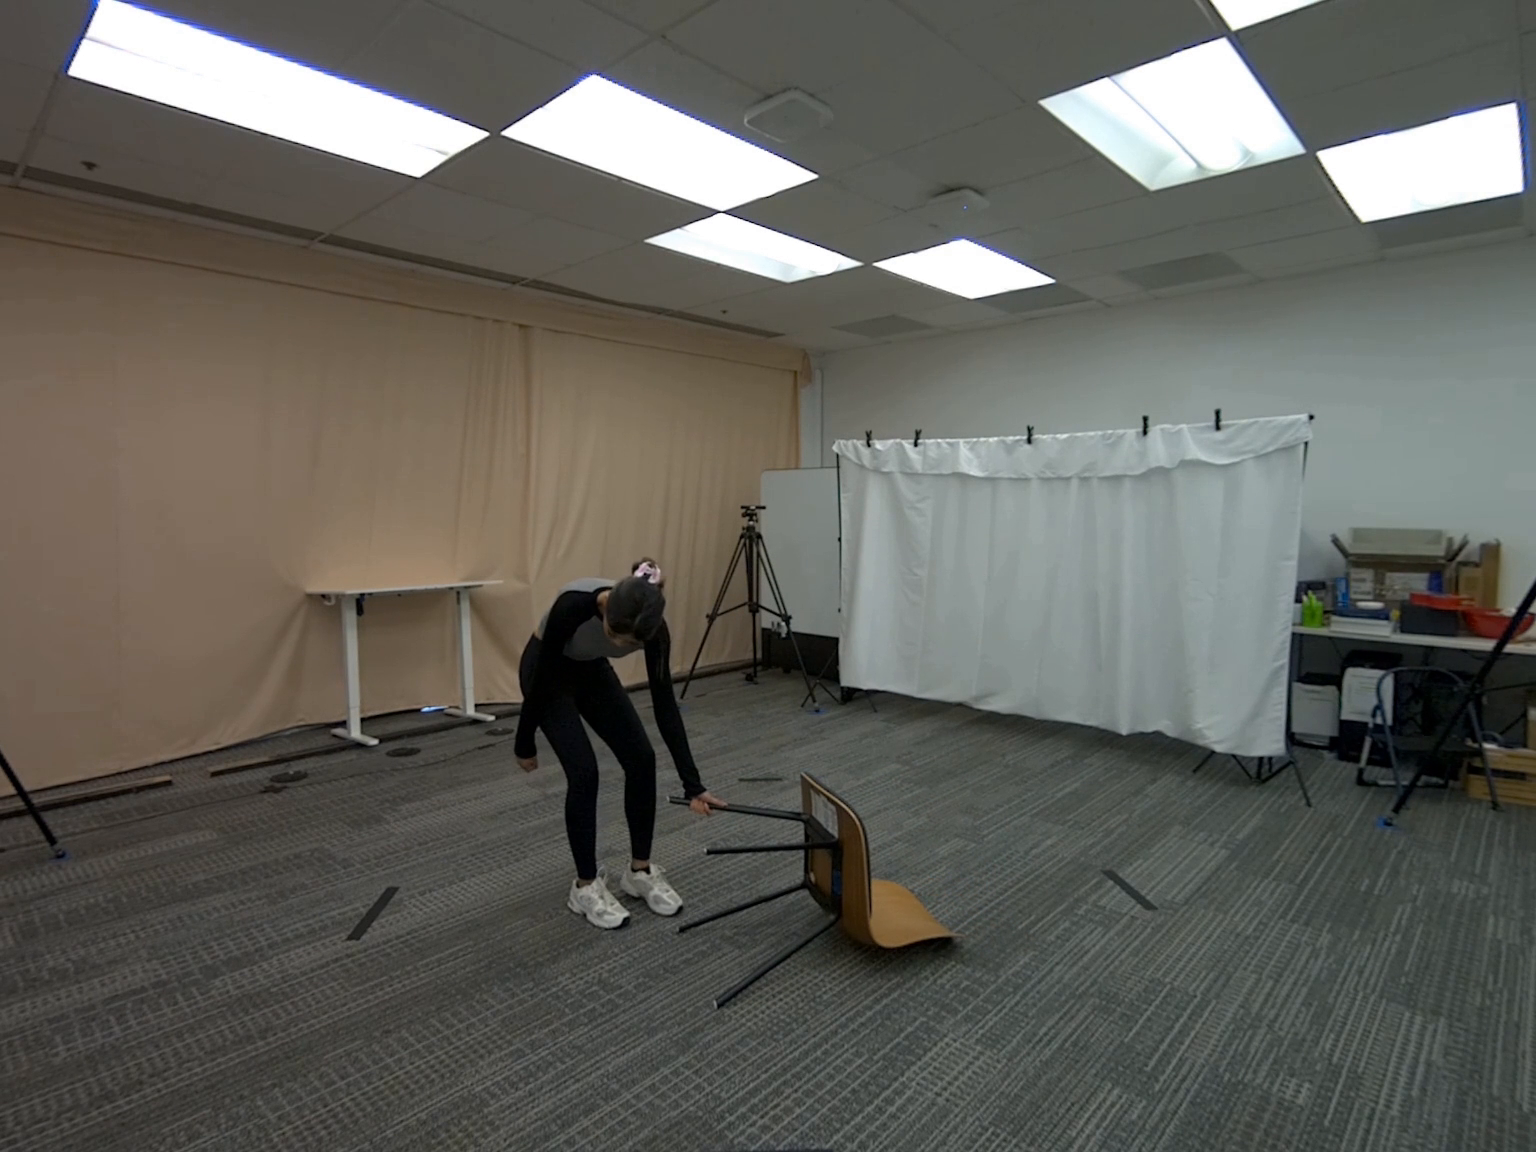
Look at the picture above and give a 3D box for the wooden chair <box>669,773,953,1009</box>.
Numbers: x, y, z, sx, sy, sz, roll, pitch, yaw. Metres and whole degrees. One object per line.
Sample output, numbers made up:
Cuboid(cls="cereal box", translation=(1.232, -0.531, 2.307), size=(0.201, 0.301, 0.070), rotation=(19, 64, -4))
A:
Cuboid(cls="wooden chair", translation=(0.171, 0.910, 2.642), size=(0.862, 0.522, 0.487), rotation=(0, 3, -17))
